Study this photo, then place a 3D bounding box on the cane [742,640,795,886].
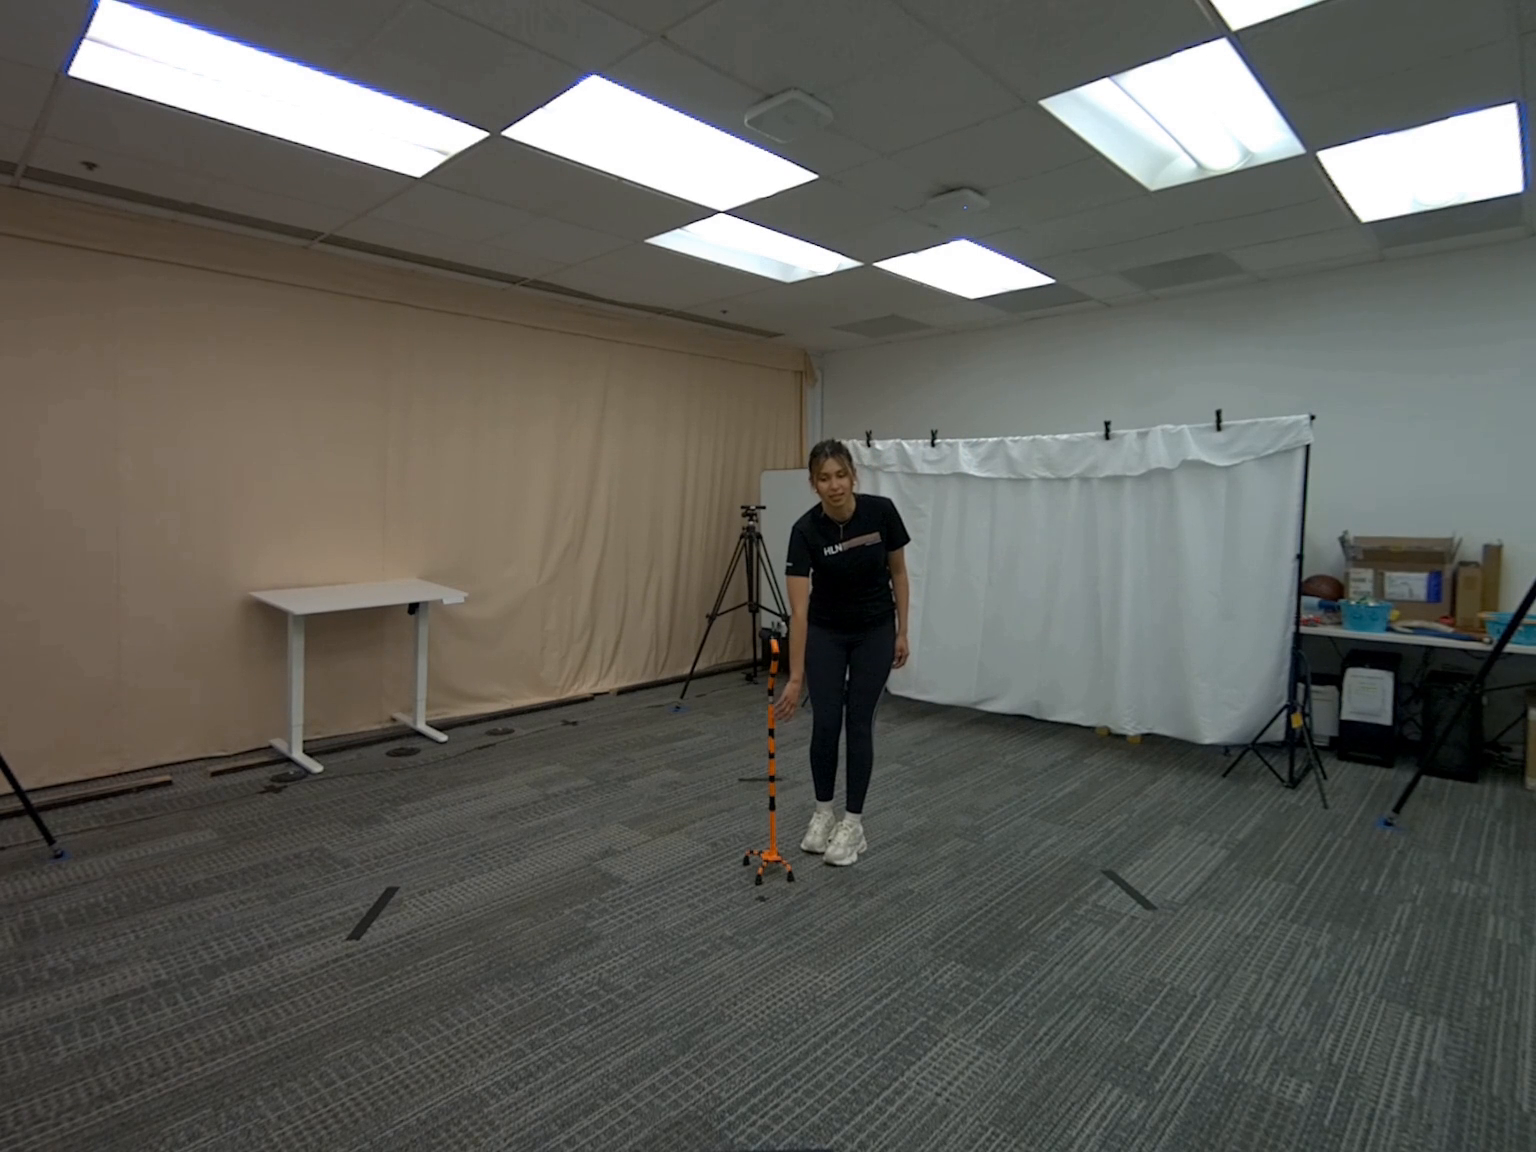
[{"bbox_3d":[0.003,0.672,3.176,0.149,0.906,0.210,-1,3,-16],"label":"cane"}]
